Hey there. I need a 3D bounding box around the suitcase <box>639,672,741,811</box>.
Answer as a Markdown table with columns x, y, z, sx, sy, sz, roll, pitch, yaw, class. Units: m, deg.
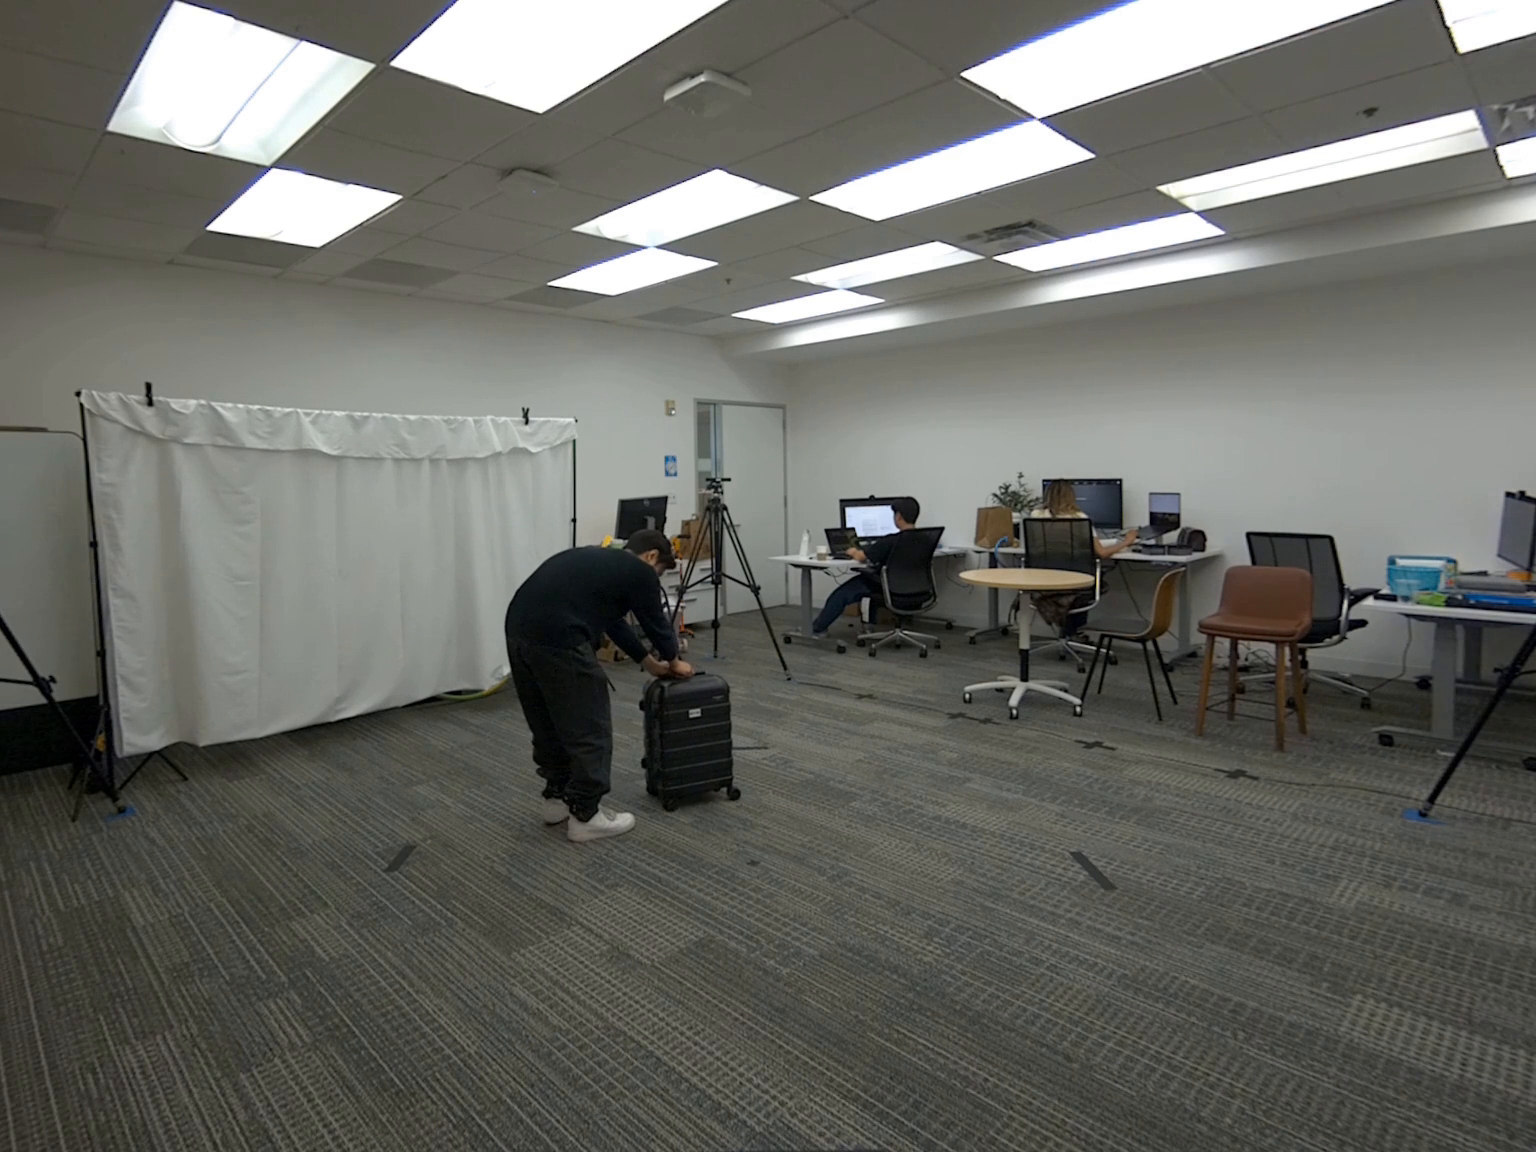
| x | y | z | sx | sy | sz | roll | pitch | yaw | class |
| --- | --- | --- | --- | --- | --- | --- | --- | --- | --- |
| -0.349 | 0.700 | 3.748 | 0.368 | 0.547 | 0.254 | -4 | 6 | -24 | suitcase |
